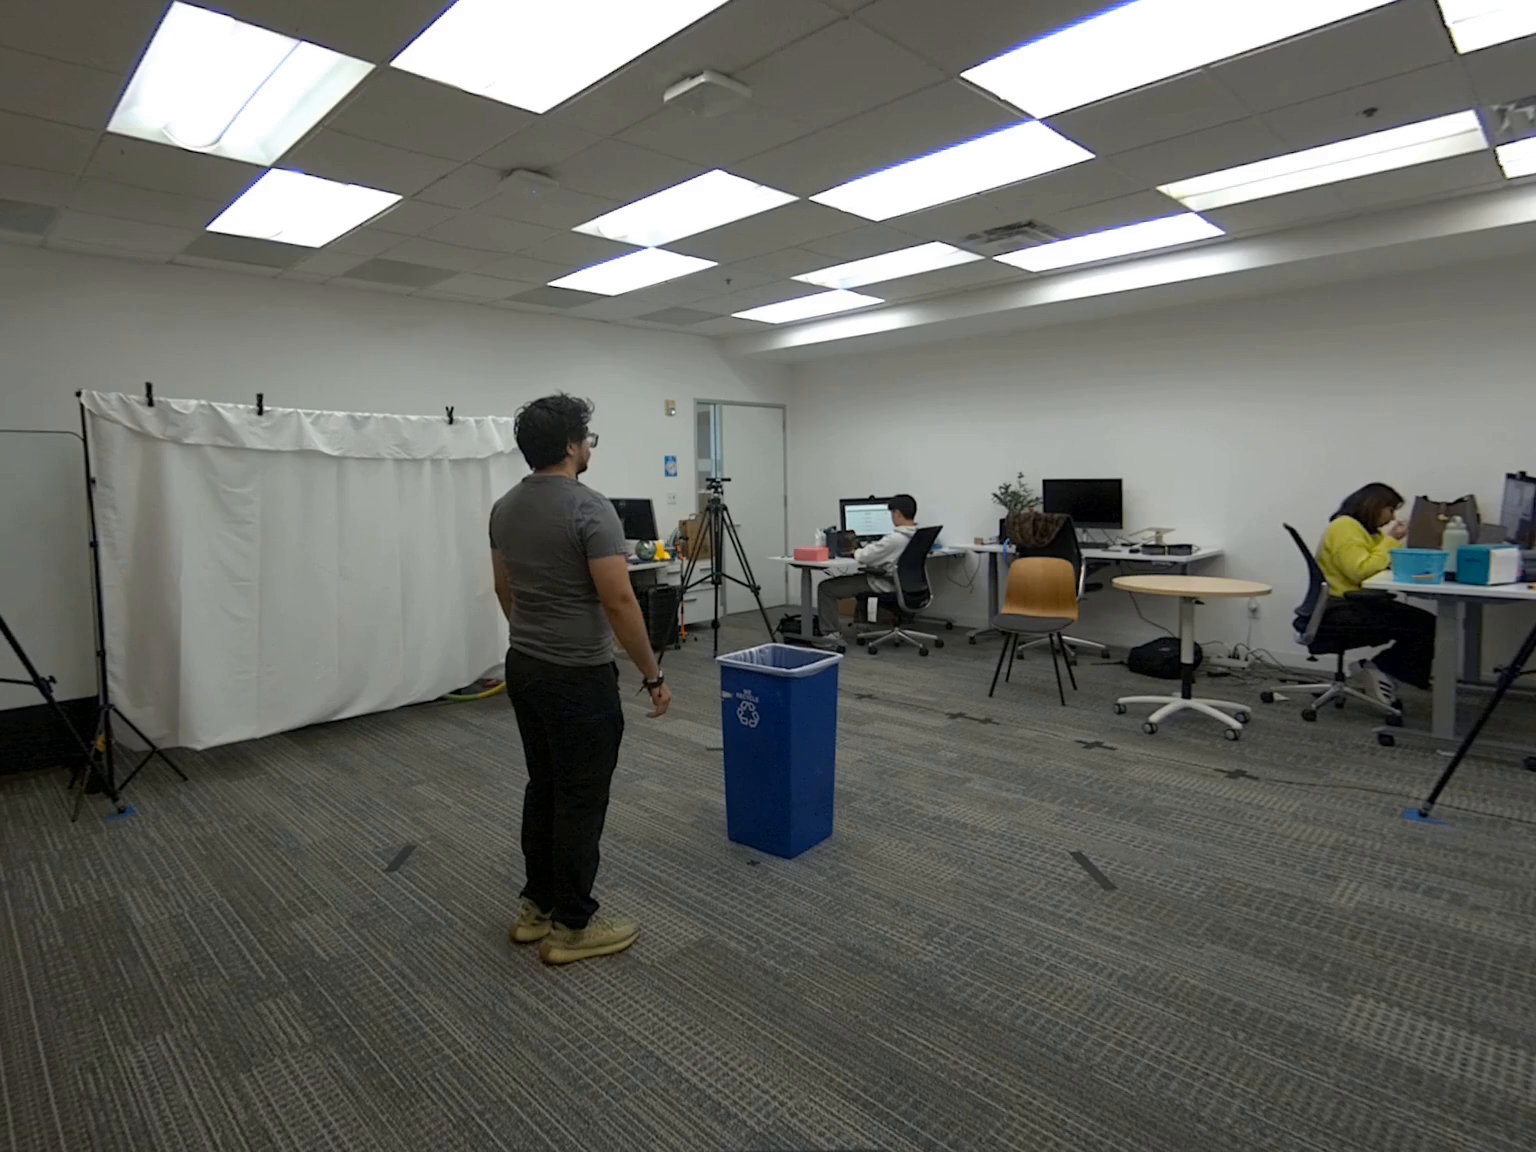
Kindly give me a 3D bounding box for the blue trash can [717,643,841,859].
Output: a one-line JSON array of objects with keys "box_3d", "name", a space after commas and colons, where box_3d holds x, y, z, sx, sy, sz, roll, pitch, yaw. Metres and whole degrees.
[{"box_3d": [0.055, 0.660, 3.302, 0.385, 0.711, 0.368, 2, 5, 39], "name": "blue trash can"}]
